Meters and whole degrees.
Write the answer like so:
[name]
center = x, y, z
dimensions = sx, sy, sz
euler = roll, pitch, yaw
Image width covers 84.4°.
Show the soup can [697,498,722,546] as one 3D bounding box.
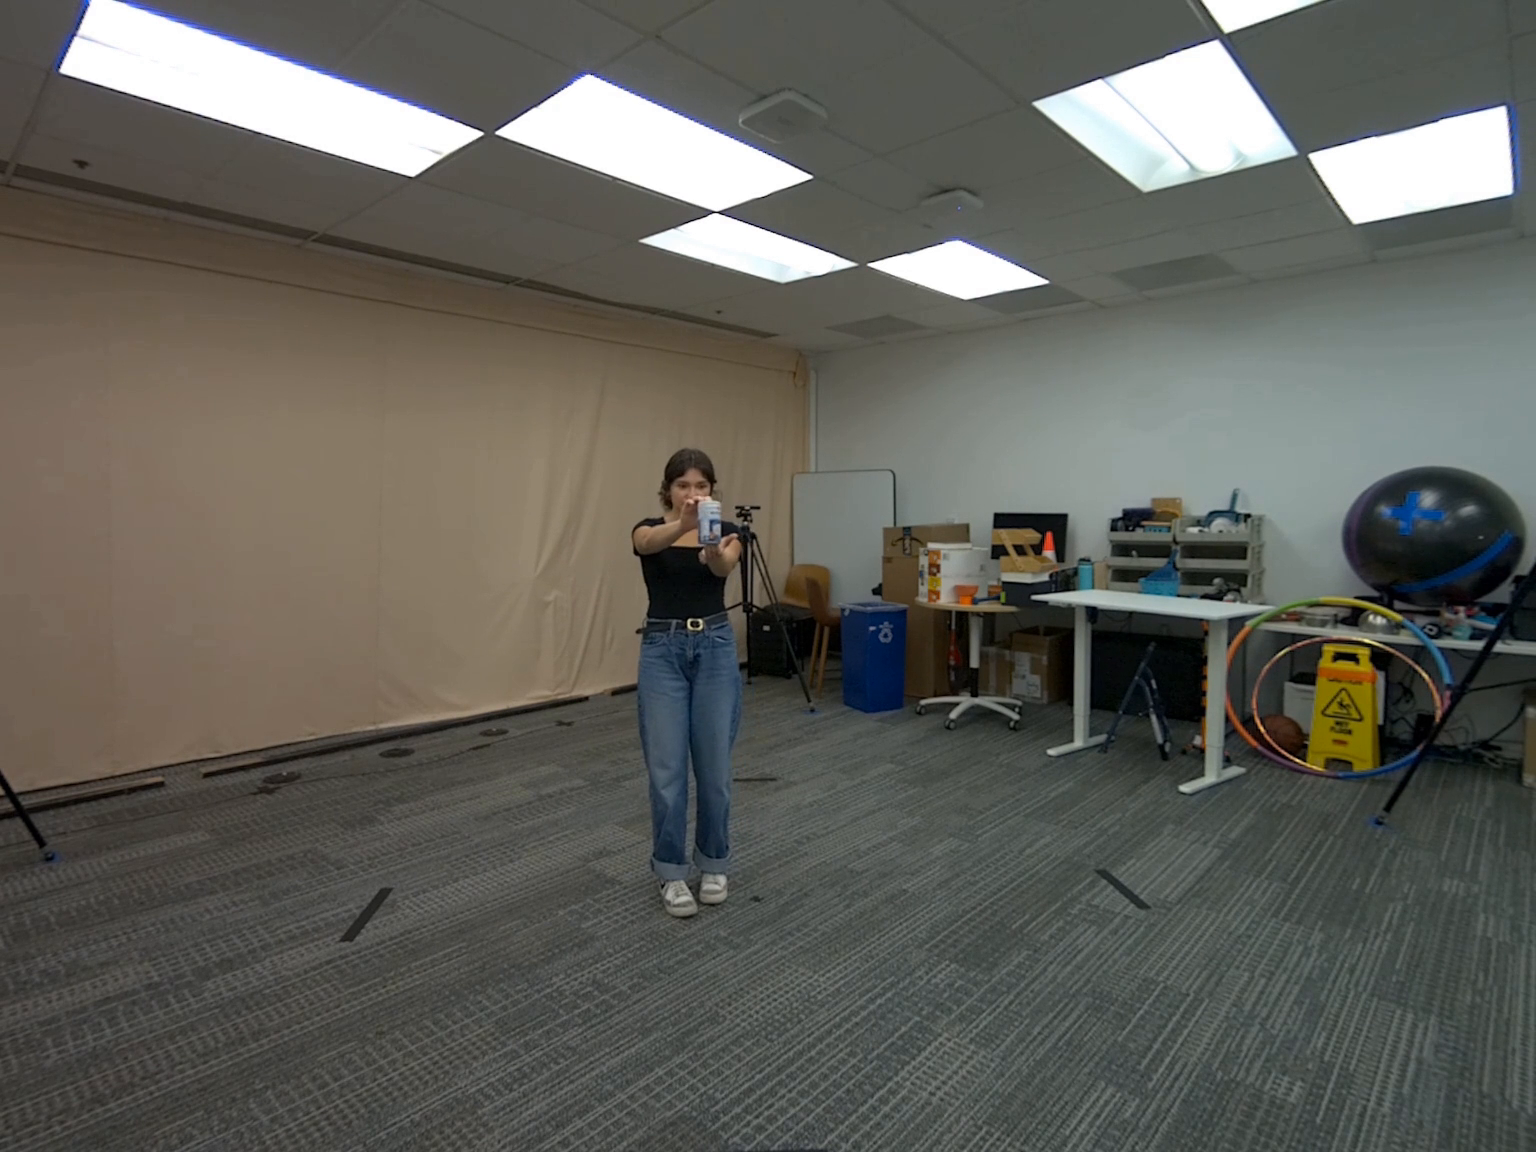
[soup can]
center = -0.169, -0.148, 2.408
dimensions = 0.067, 0.122, 0.067
euler = 2, -4, -2
